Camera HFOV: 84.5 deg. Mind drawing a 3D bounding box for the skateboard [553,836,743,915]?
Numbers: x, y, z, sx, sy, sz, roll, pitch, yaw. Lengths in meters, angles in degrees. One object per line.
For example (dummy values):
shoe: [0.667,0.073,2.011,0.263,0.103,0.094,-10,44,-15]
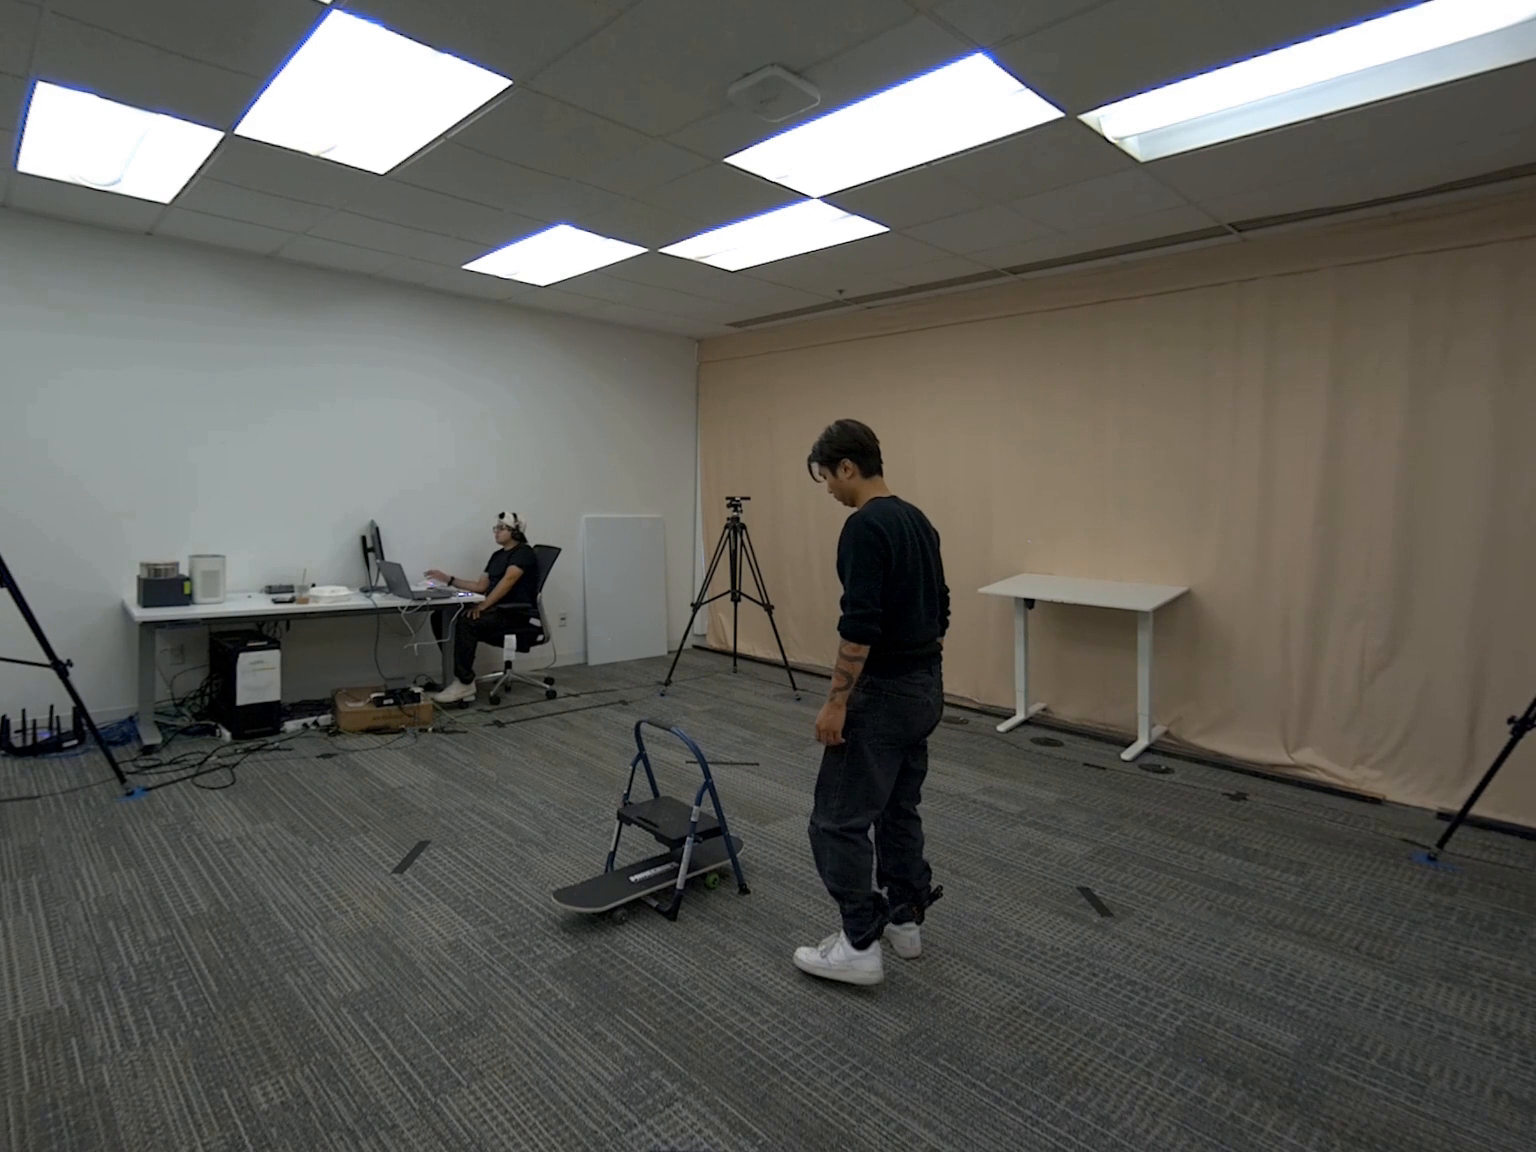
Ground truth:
skateboard: [-0.391,1.055,2.922,0.767,0.110,0.198,-3,6,-43]
